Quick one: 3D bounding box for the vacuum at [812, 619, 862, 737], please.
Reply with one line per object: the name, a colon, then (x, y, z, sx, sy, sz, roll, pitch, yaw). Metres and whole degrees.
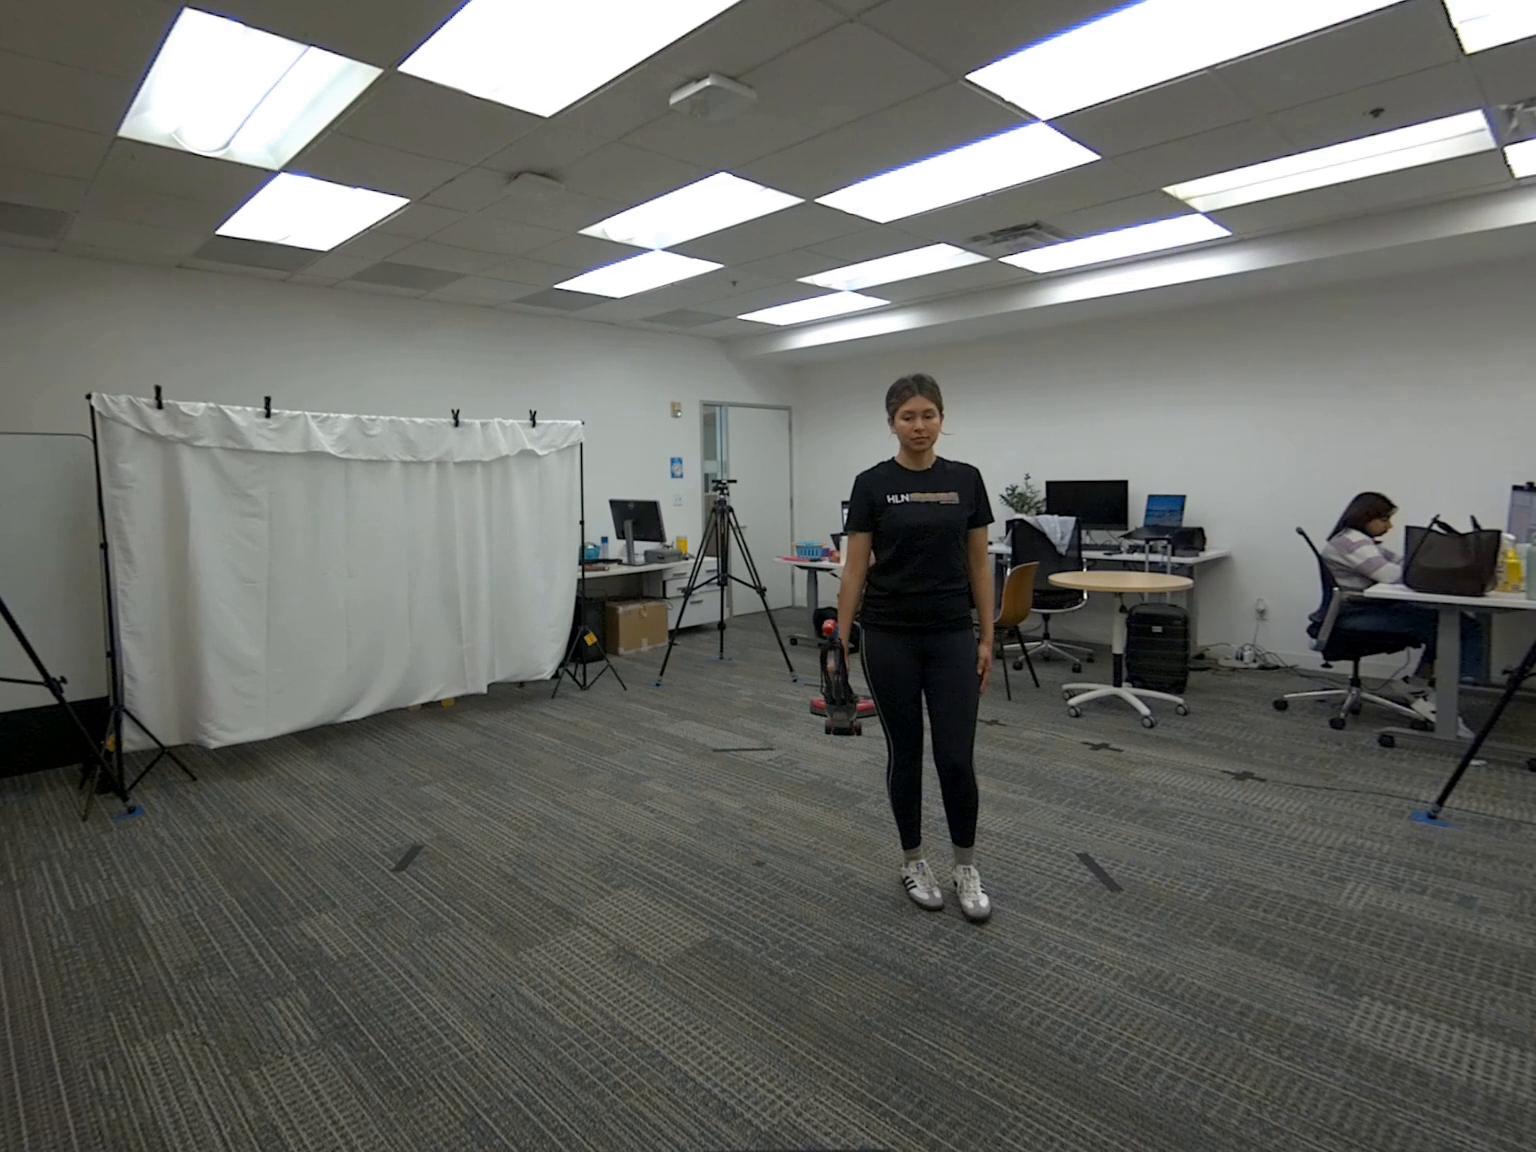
vacuum: (0.219, 0.336, 2.689, 0.254, 0.147, 1.021, 0, -24, 6)
